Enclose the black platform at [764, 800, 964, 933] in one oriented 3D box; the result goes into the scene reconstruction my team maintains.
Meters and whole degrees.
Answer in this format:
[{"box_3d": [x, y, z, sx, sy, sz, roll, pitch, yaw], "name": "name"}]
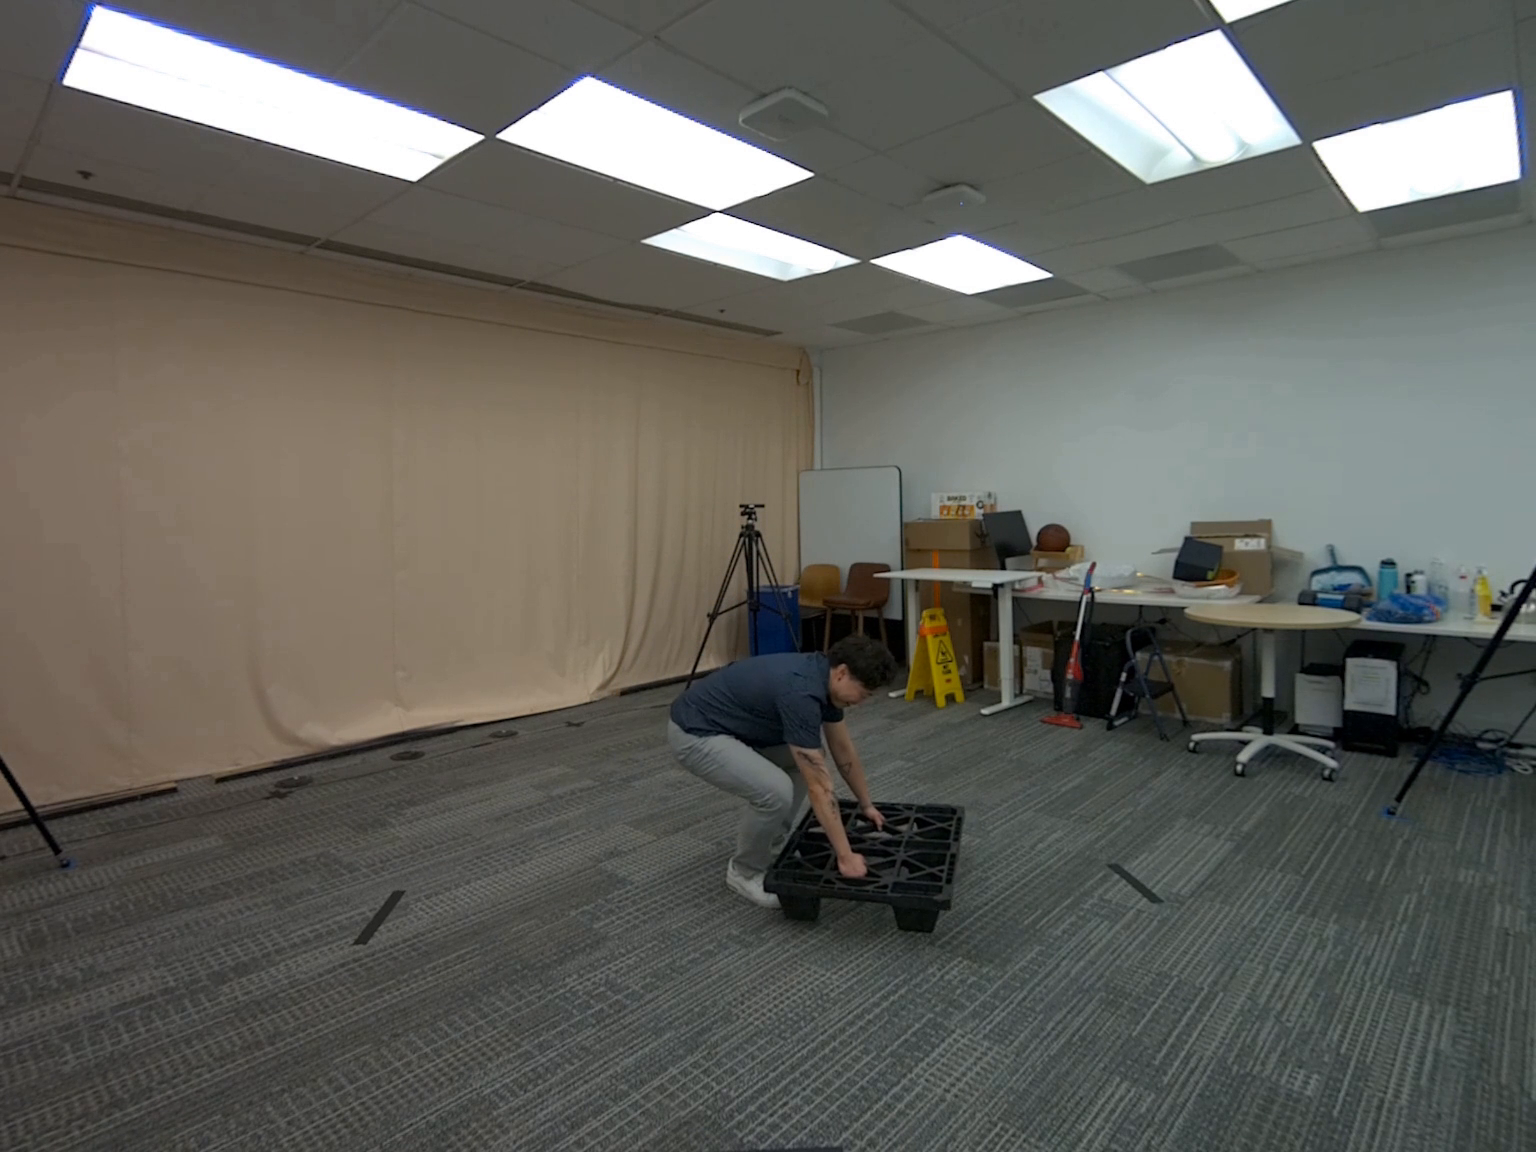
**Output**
[{"box_3d": [0.385, 1.012, 3.018, 0.617, 0.143, 0.792, -2, 5, 17], "name": "black platform"}]
